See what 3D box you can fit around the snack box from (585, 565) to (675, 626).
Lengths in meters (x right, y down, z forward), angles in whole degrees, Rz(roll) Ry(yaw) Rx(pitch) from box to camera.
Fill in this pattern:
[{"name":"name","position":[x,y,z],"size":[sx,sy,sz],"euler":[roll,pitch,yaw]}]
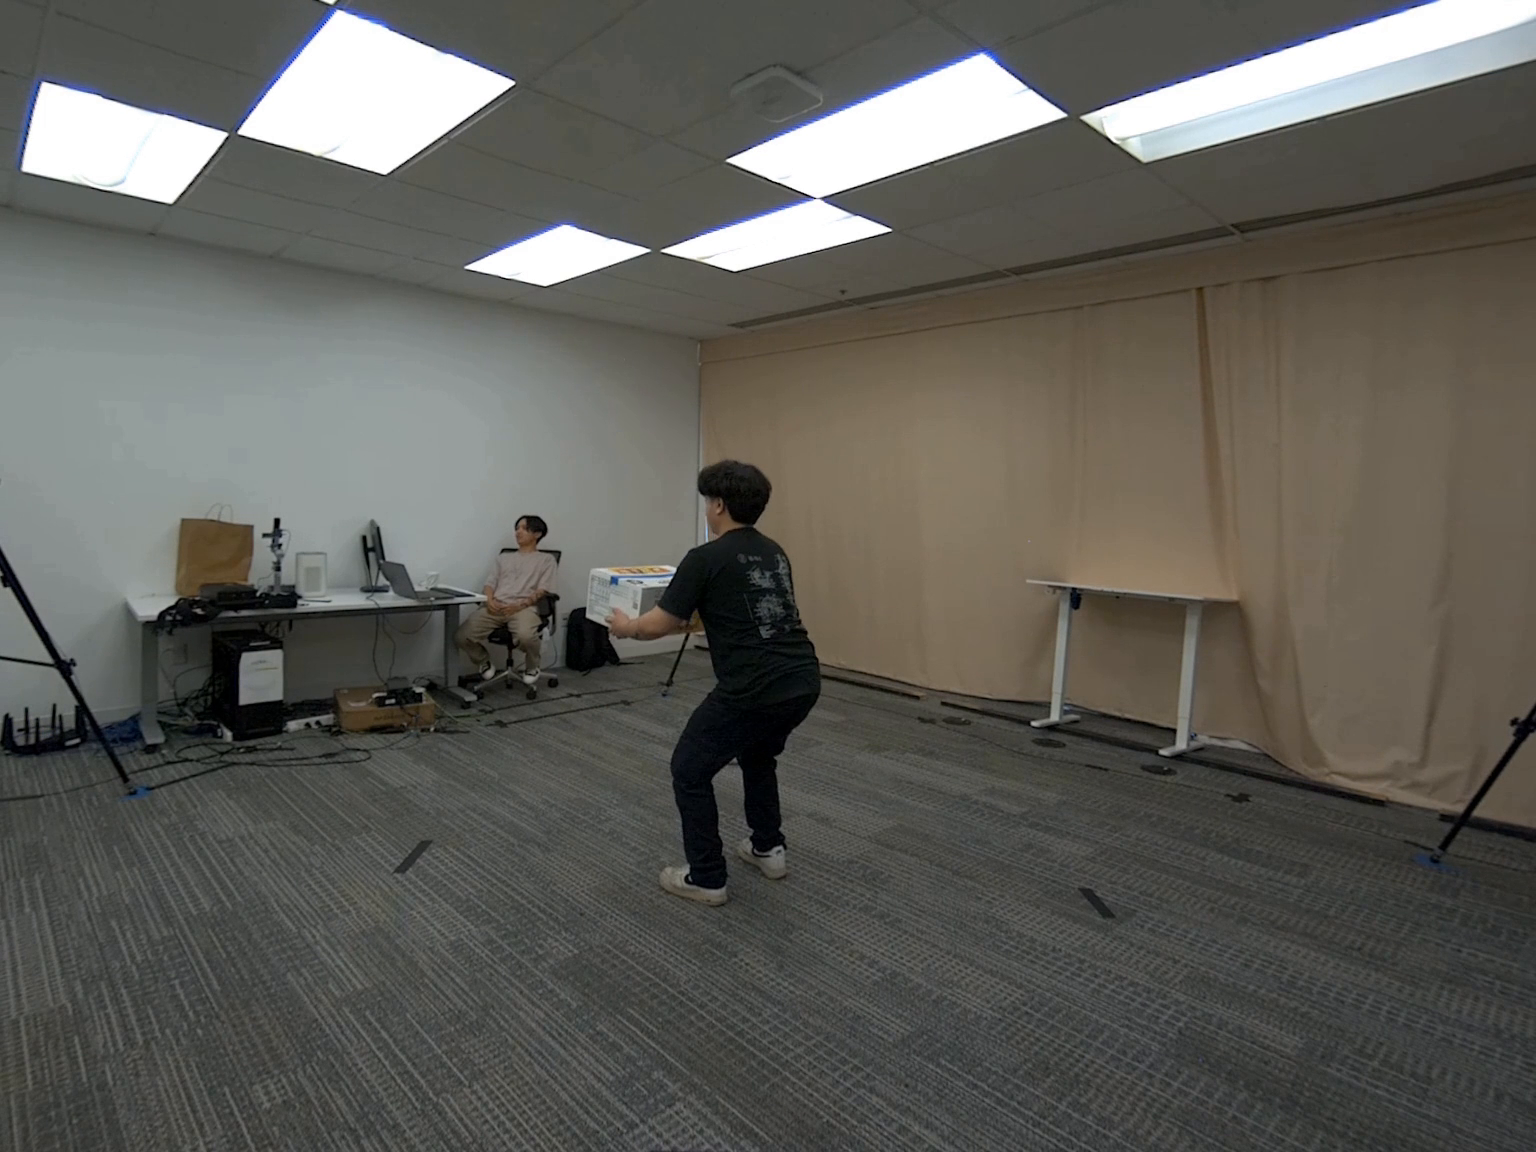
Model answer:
[{"name":"snack box","position":[-0.460,0.102,3.374],"size":[0.396,0.204,0.350],"euler":[-3,13,-45]}]
